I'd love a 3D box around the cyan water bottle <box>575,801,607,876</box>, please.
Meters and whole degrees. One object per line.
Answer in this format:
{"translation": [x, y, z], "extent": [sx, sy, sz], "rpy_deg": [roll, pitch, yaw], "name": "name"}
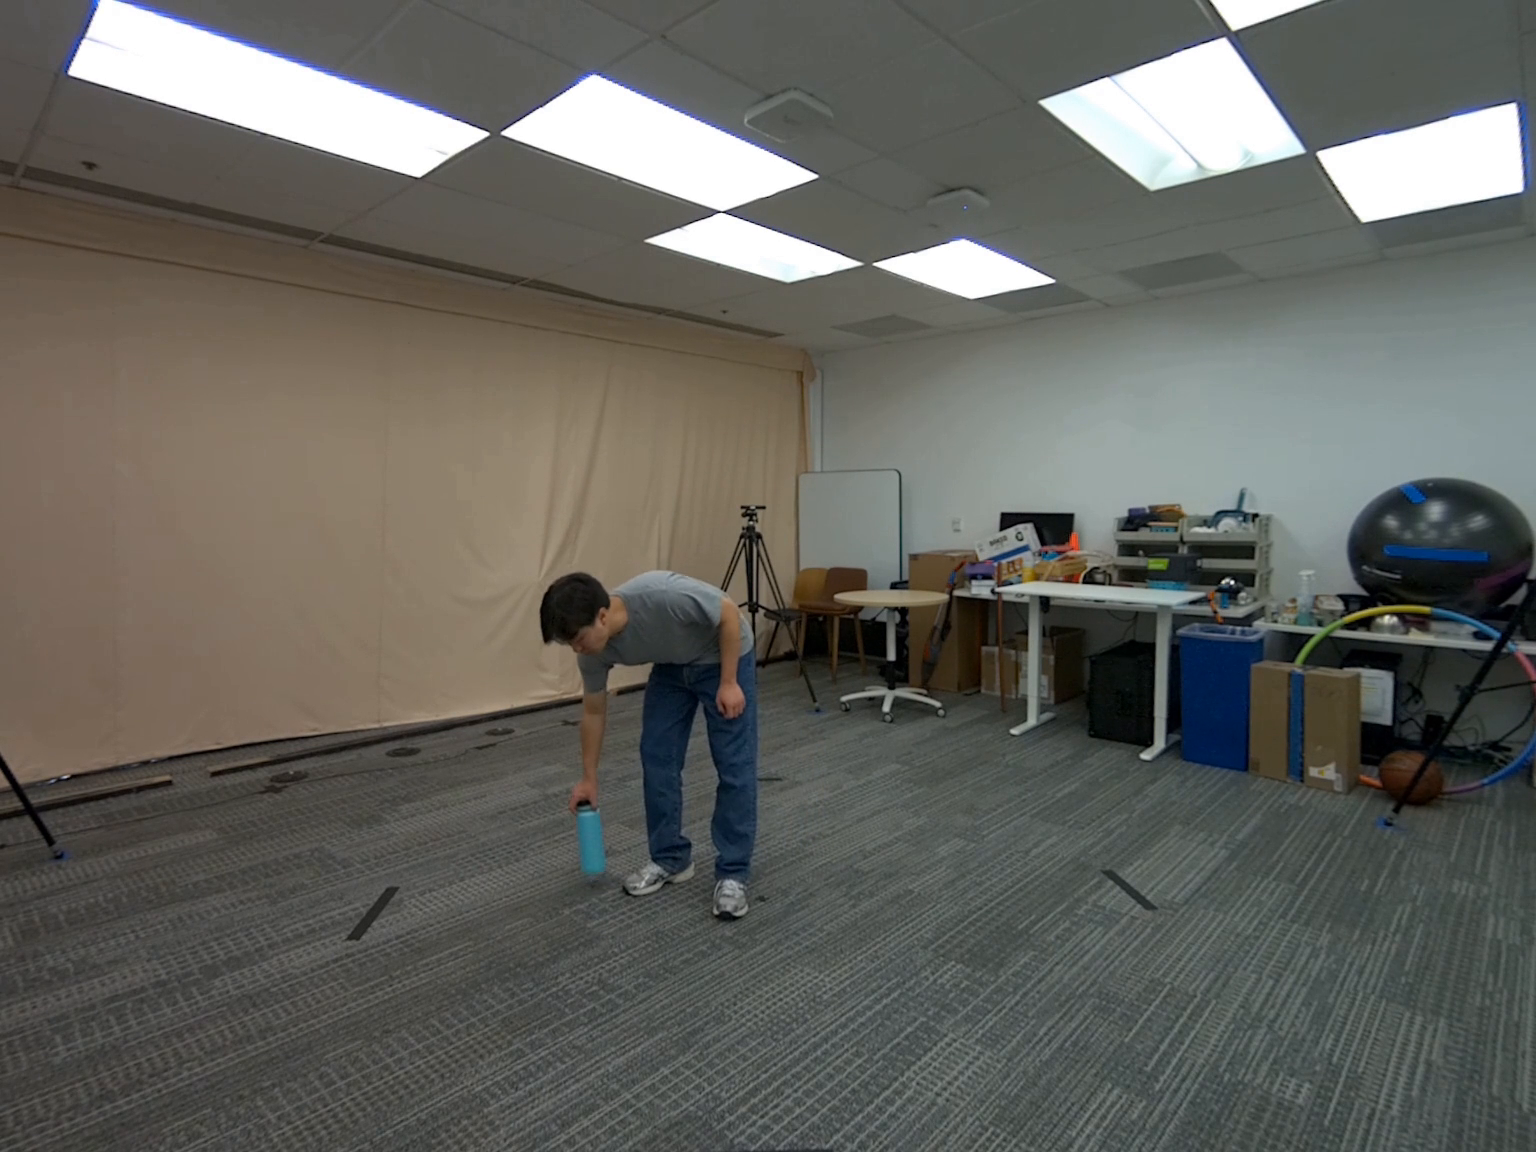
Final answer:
{"translation": [-0.648, 0.930, 3.084], "extent": [0.092, 0.283, 0.092], "rpy_deg": [-6, 2, -2], "name": "cyan water bottle"}
